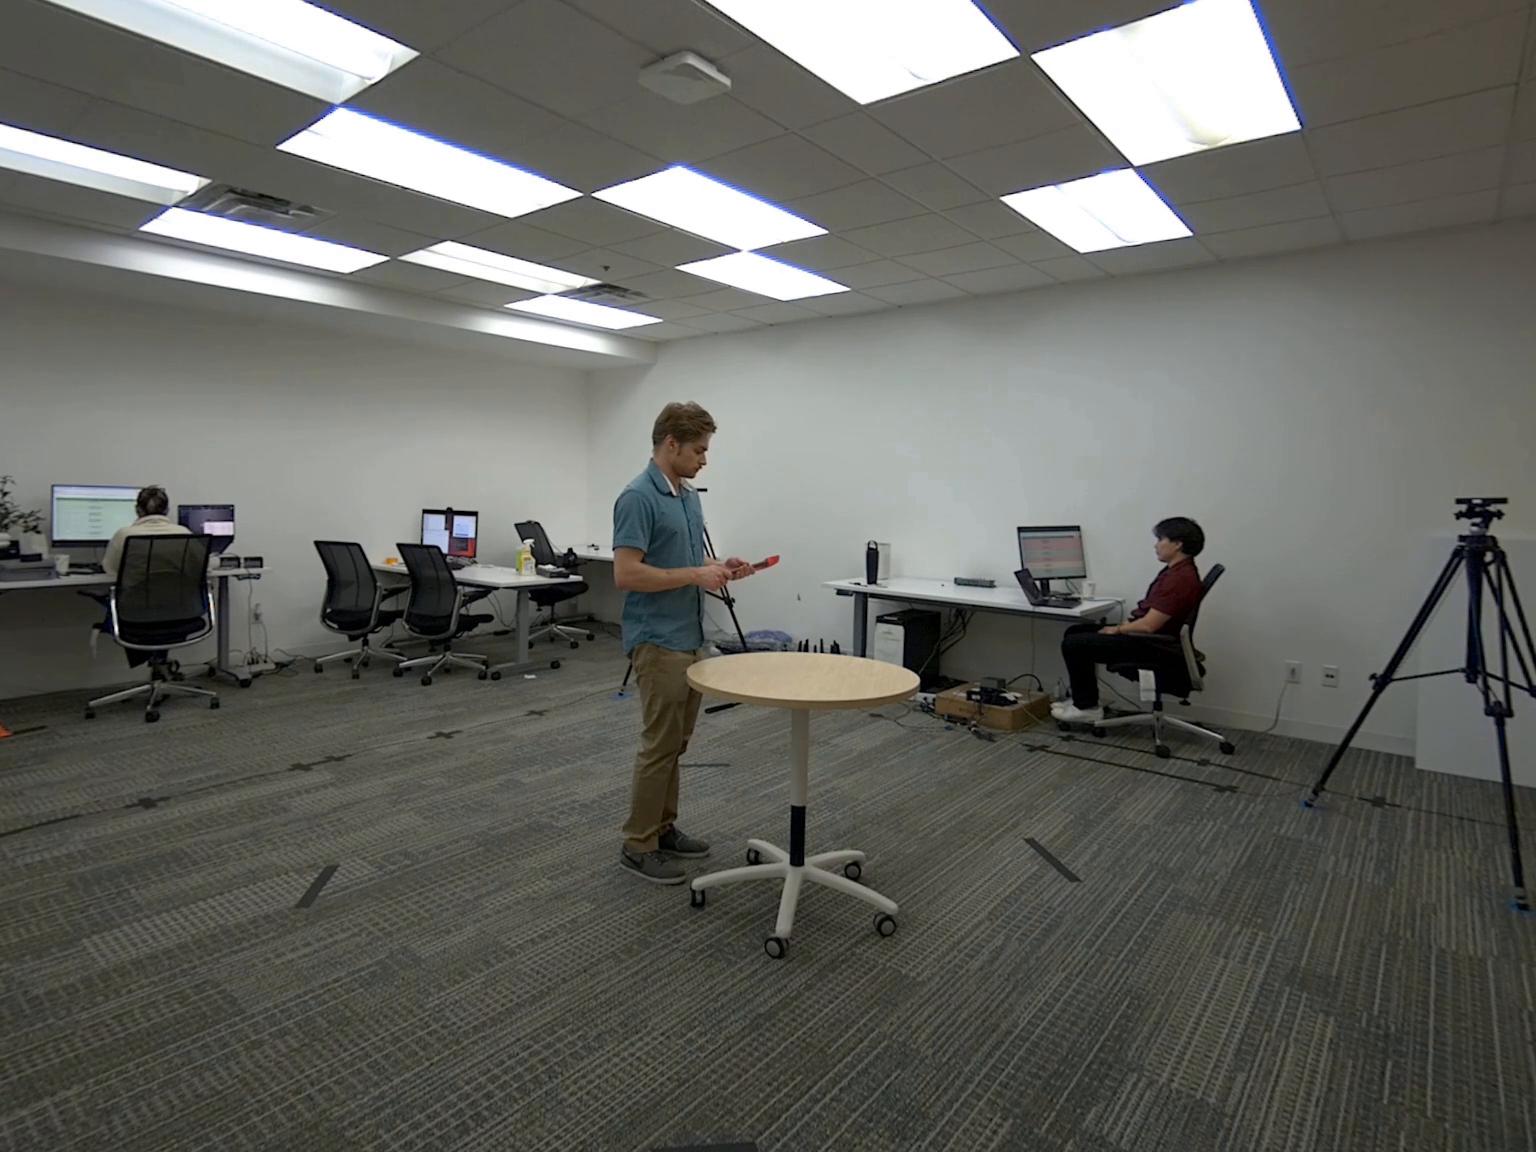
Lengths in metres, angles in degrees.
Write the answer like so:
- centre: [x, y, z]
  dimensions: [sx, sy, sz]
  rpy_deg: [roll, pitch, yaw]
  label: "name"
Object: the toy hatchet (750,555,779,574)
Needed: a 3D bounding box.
- centre: [-0.100, -0.024, 3.111]
  dimensions: [0.268, 0.030, 0.130]
  rpy_deg: [-17, -8, -10]
  label: "toy hatchet"
